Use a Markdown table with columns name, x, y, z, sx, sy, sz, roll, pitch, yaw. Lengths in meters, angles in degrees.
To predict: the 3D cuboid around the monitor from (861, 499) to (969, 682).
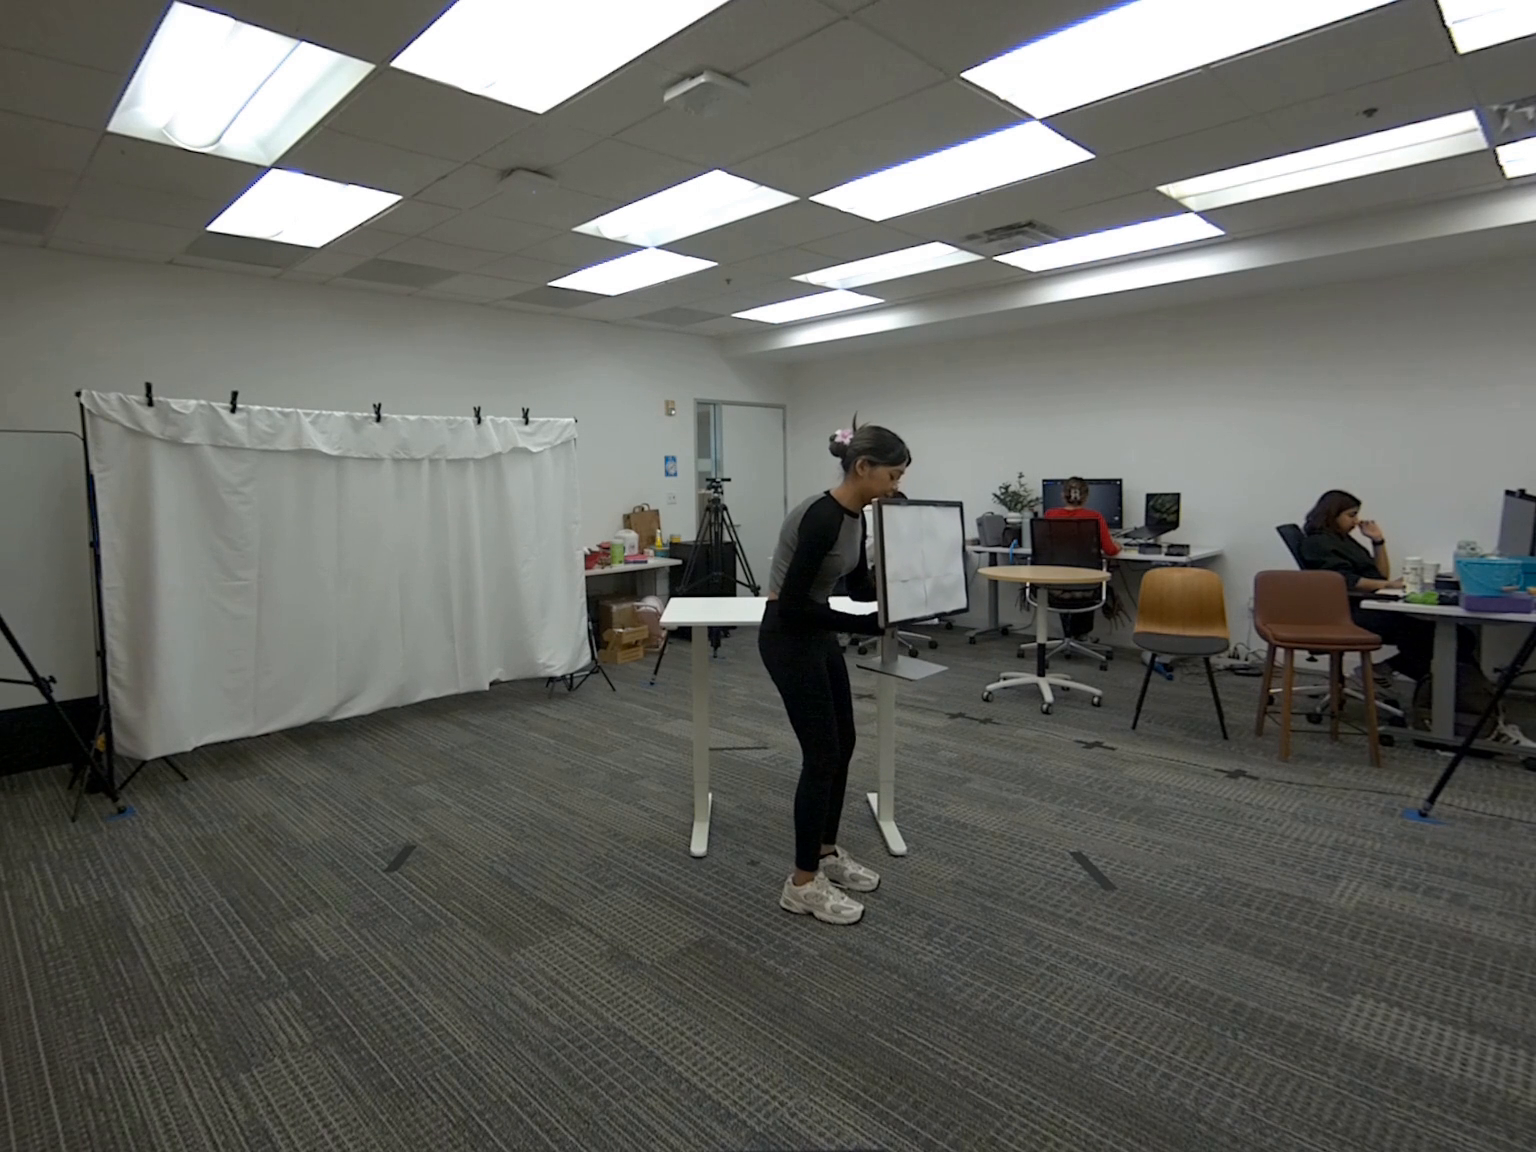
| name | x | y | z | sx | sy | sz | roll | pitch | yaw |
| --- | --- | --- | --- | --- | --- | --- | --- | --- | --- |
| monitor | 0.436 | 0.033 | 2.616 | 0.193 | 0.520 | 0.524 | 10 | 7 | 37 |
